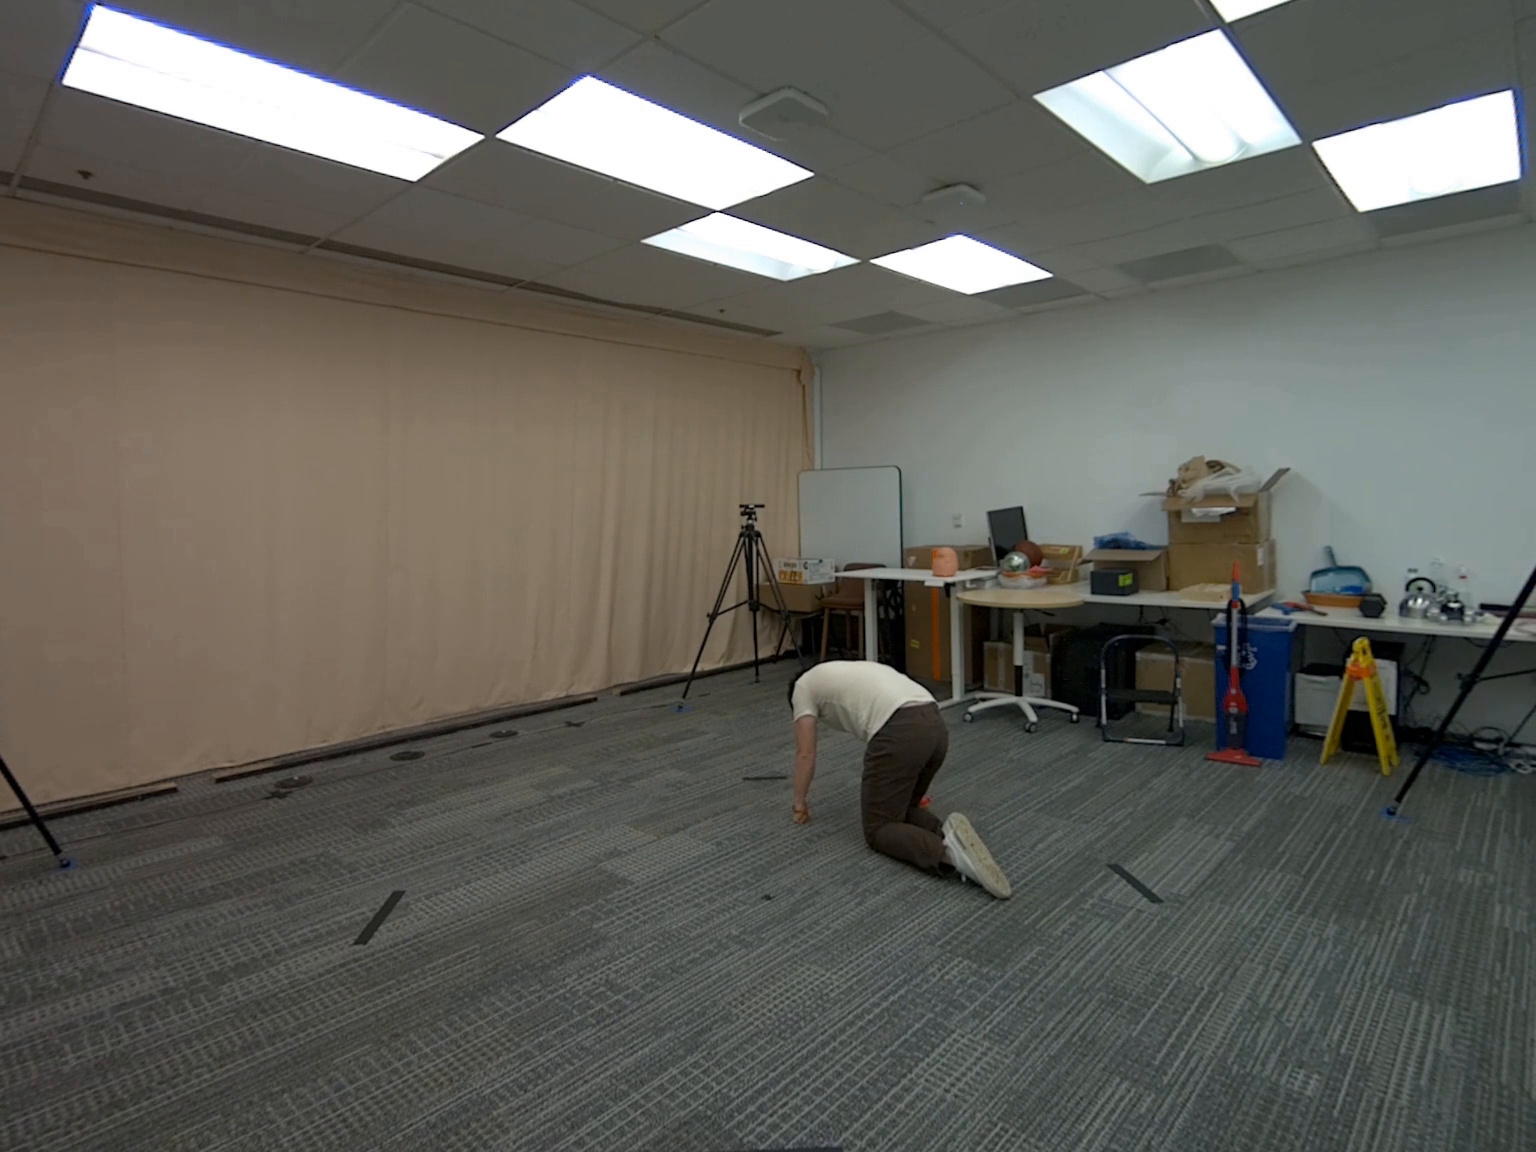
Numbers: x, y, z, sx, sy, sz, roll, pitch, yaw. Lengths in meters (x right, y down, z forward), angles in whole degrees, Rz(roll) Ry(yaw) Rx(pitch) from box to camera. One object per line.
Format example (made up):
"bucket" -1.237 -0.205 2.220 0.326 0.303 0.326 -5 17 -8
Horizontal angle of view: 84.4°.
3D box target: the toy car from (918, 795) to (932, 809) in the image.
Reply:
"toy car" 0.632 1.024 3.875 0.262 0.083 0.126 -8 -3 44
